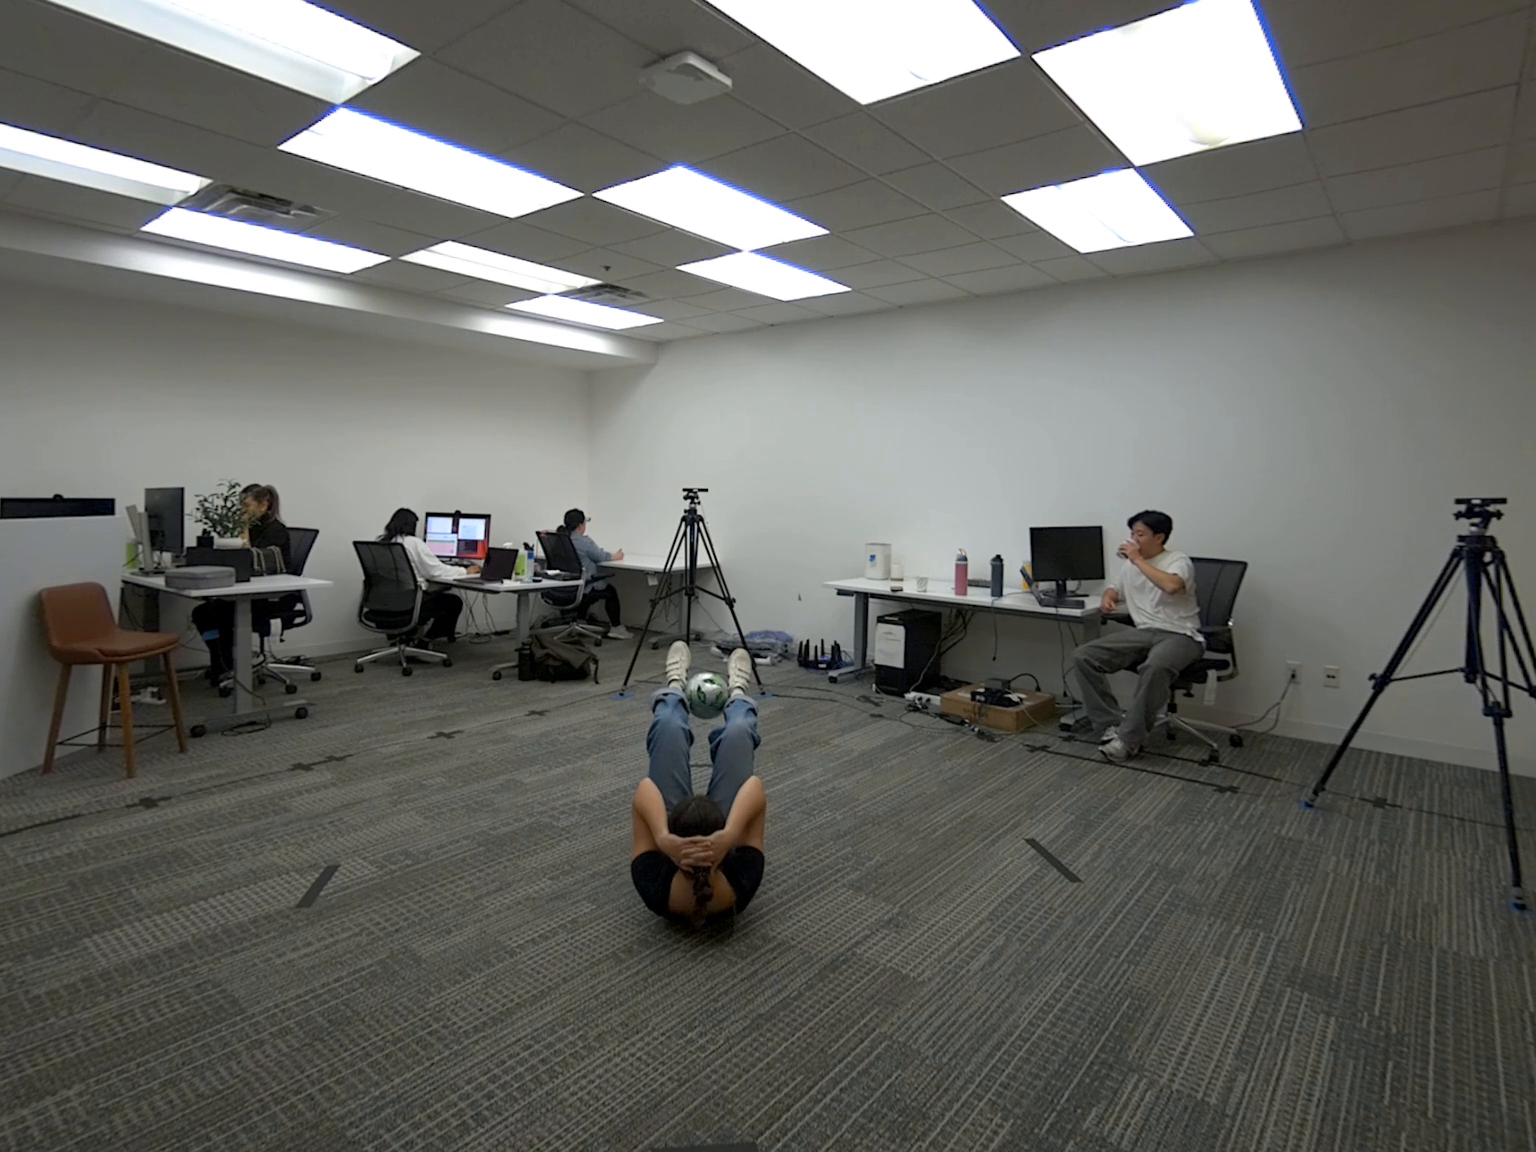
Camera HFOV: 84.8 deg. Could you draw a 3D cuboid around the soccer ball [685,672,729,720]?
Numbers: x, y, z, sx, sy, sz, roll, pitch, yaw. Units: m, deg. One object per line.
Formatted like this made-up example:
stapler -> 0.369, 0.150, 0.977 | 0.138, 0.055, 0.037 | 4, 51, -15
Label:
soccer ball -> -0.251, 0.478, 3.428 | 0.187, 0.187, 0.188 | -3, 4, -2
